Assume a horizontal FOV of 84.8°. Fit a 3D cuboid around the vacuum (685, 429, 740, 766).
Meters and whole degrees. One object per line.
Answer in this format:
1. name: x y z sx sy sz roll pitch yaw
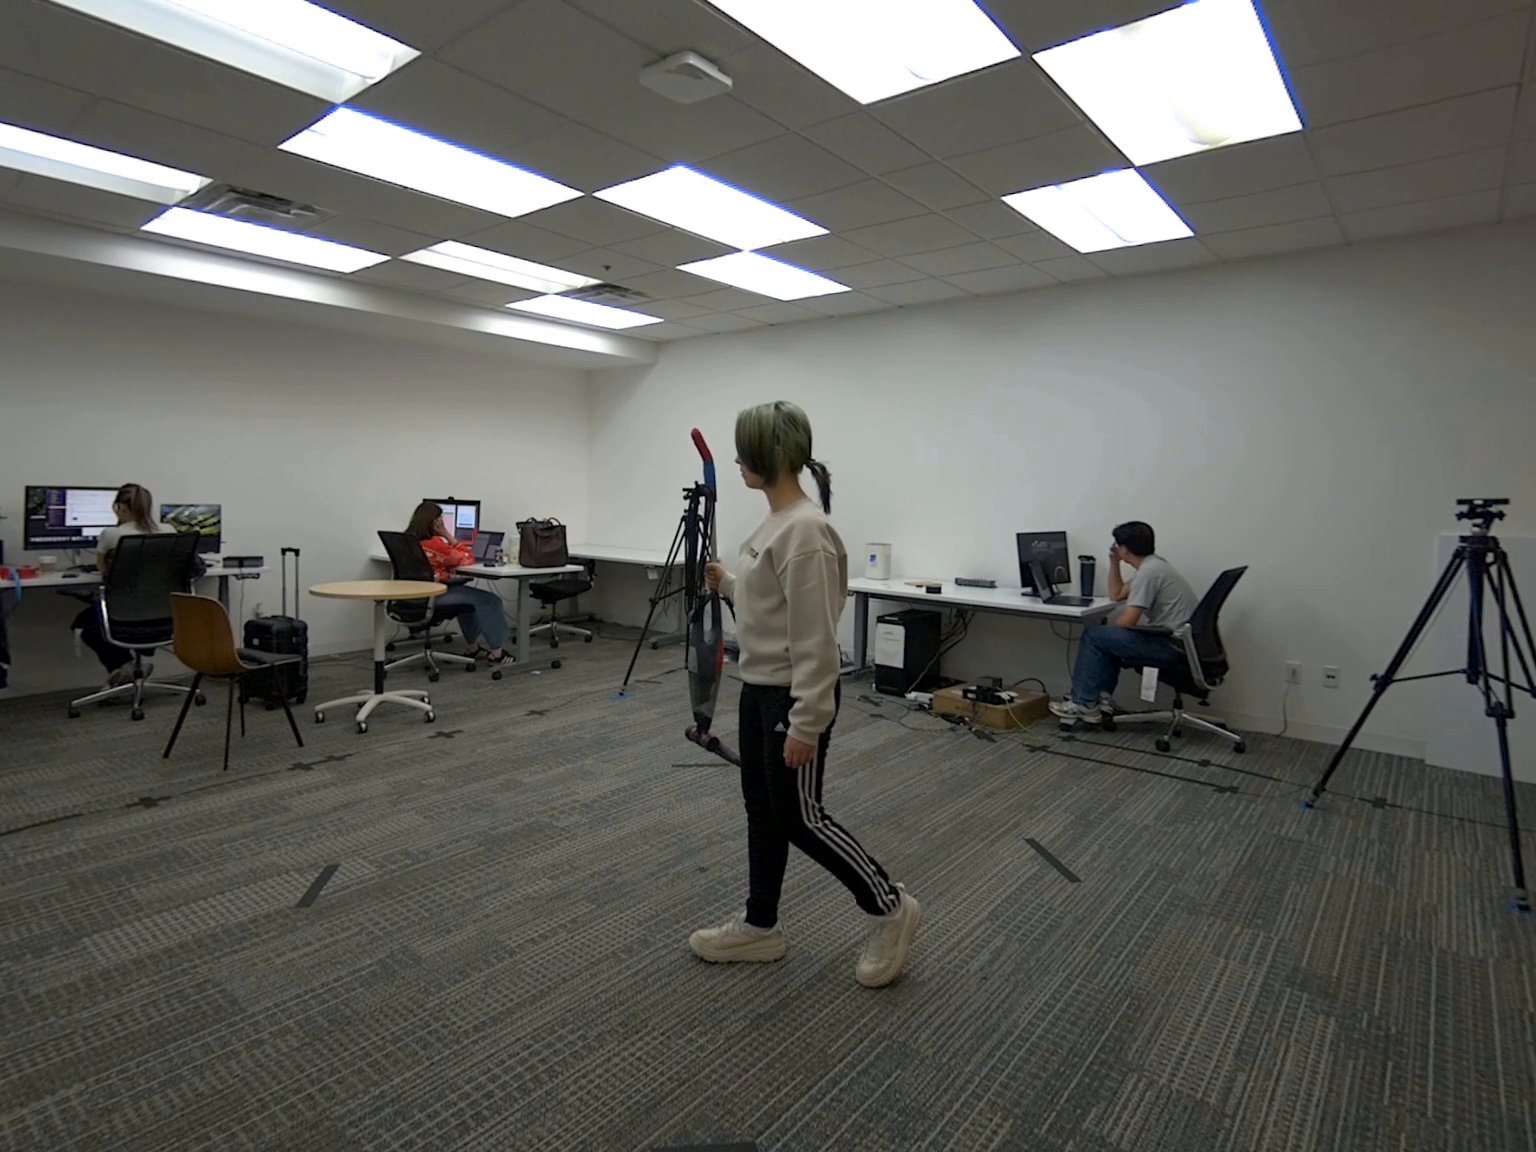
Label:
1. vacuum: -0.221 0.064 2.753 0.261 1.038 0.140 8 14 44
